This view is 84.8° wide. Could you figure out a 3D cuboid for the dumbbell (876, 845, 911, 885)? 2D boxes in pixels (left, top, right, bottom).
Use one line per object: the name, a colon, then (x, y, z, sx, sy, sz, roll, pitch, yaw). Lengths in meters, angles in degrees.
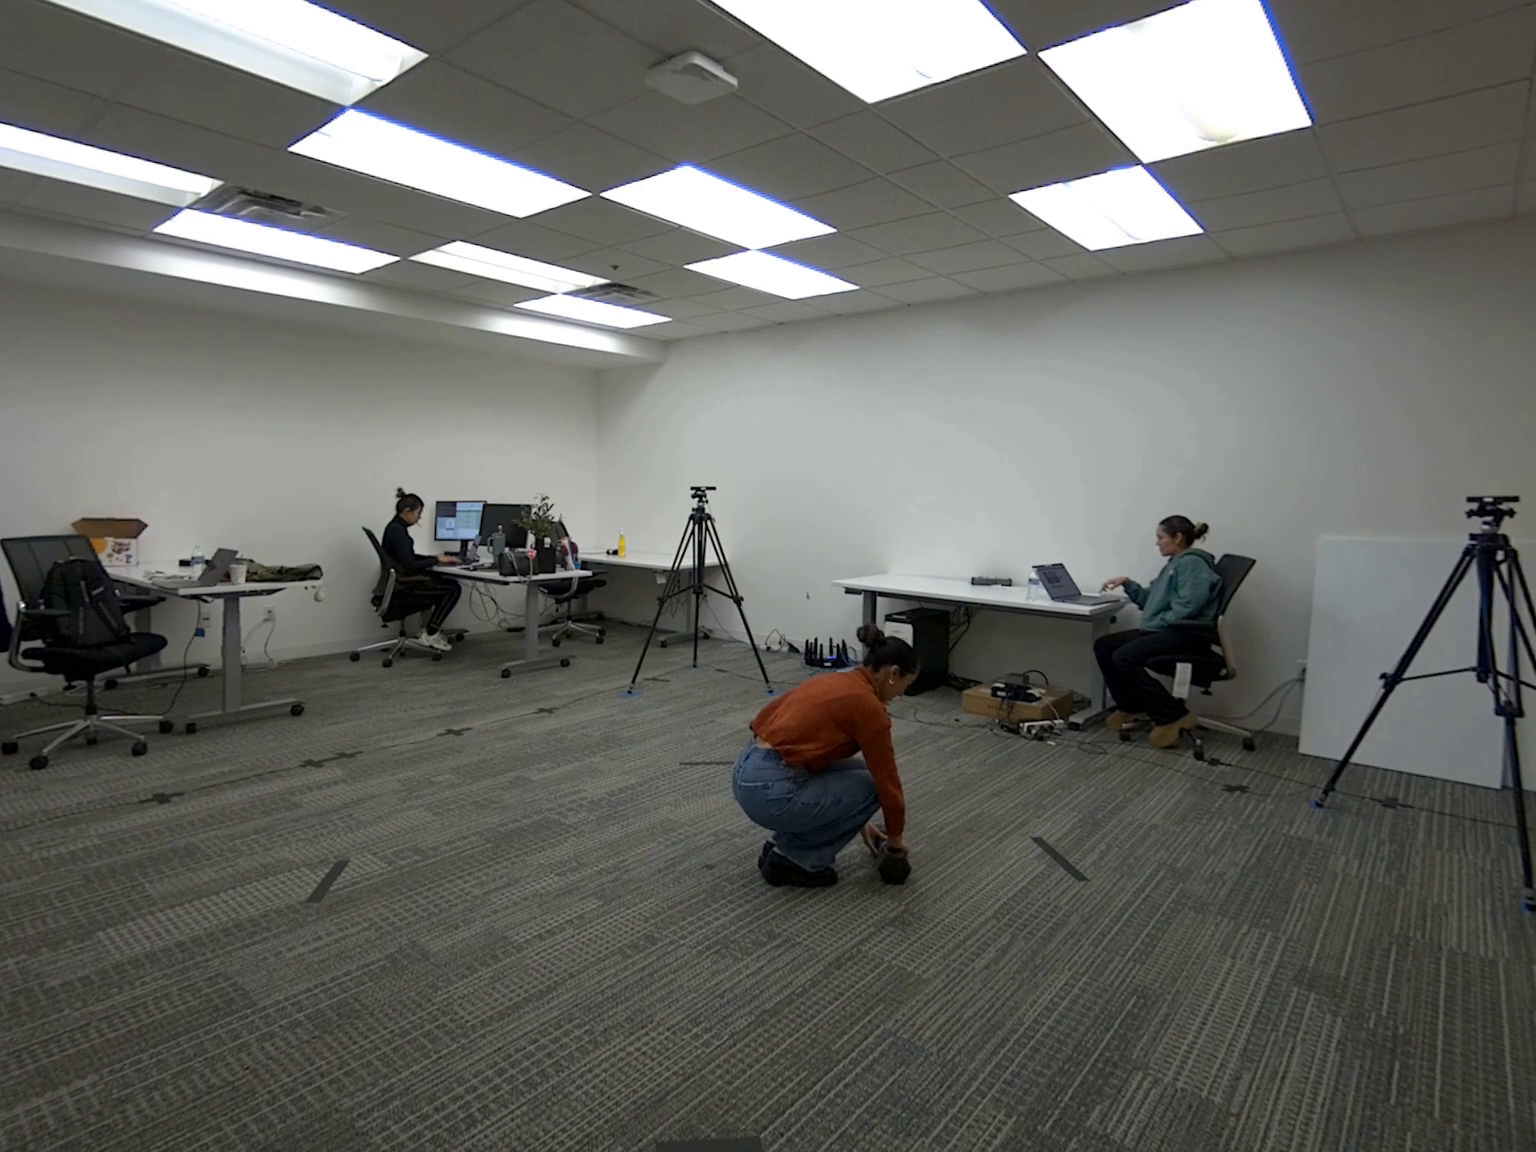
dumbbell: (0.433, 1.017, 3.140, 0.109, 0.122, 0.296, -30, 8, 0)
